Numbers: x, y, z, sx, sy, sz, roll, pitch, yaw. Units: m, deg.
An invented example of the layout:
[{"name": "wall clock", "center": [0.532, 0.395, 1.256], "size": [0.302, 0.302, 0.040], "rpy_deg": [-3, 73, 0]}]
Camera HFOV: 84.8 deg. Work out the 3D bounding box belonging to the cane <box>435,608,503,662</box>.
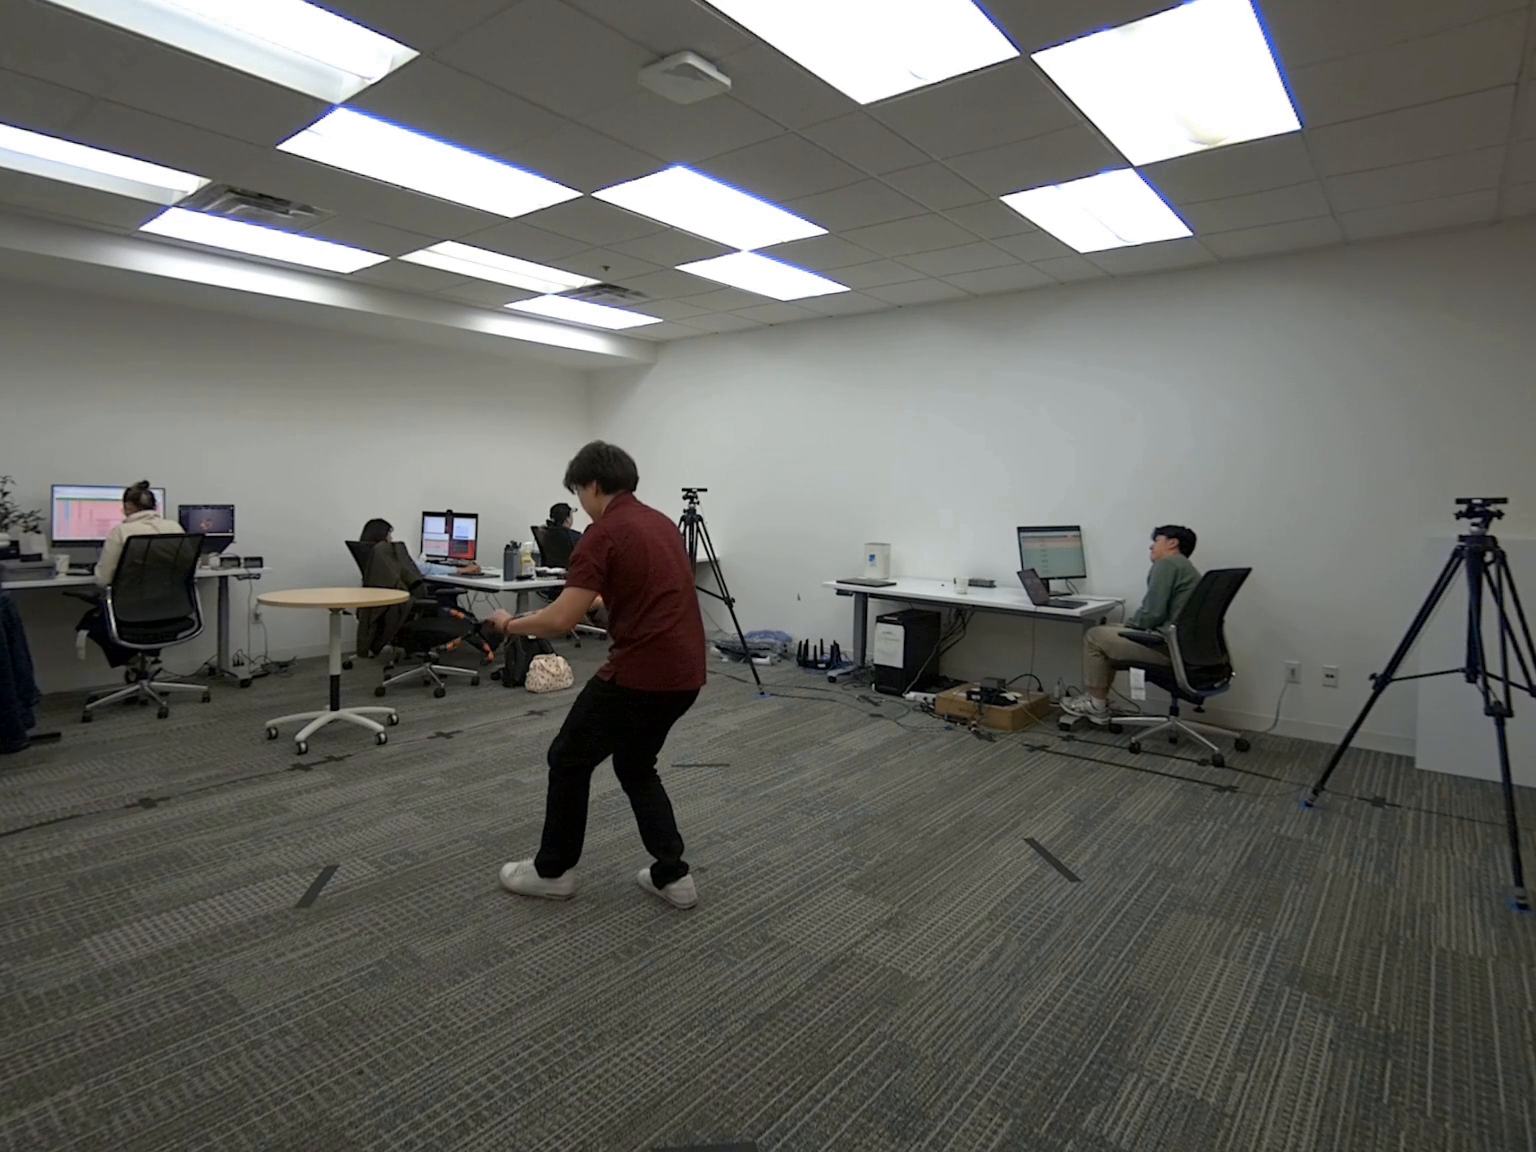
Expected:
[{"name": "cane", "center": [-0.799, 0.147, 3.043], "size": [0.212, 0.150, 0.891], "rpy_deg": [9, 9, 21]}]
